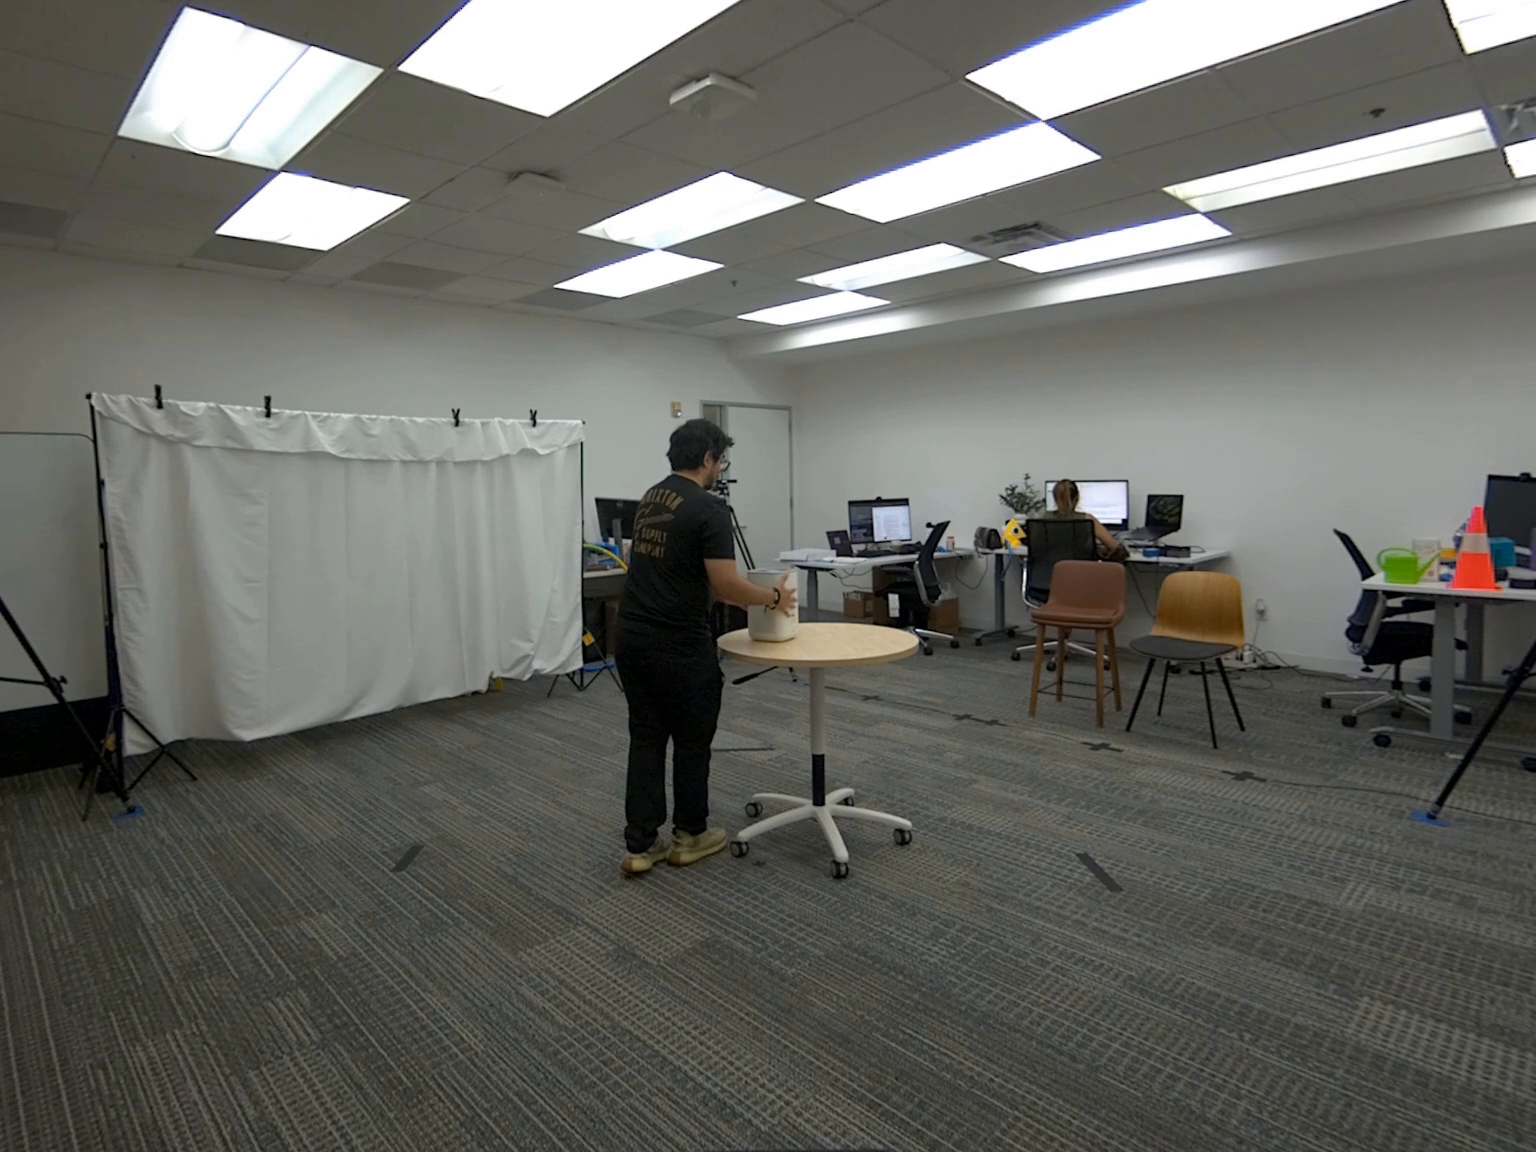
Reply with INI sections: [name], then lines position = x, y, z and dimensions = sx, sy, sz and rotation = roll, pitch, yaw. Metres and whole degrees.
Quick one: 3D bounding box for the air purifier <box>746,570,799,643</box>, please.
[air purifier]
position = 0.019, 0.108, 3.288
dimensions = 0.176, 0.264, 0.167
rotation = 0, 4, 28
